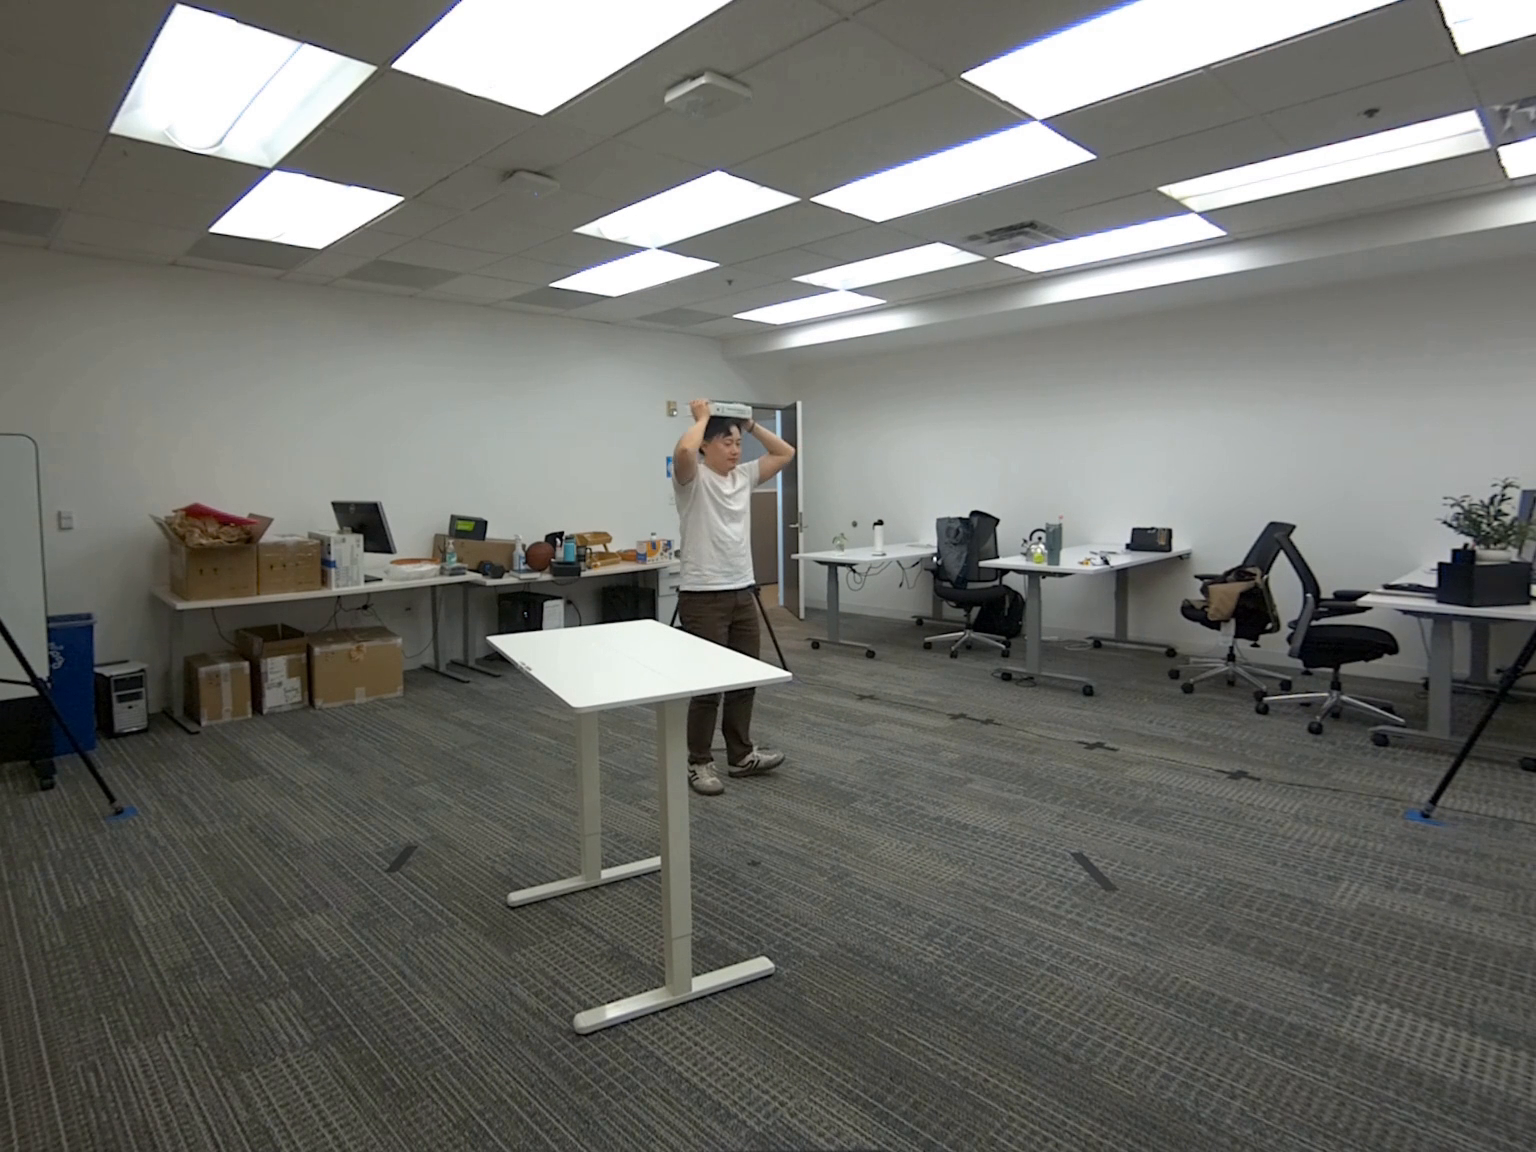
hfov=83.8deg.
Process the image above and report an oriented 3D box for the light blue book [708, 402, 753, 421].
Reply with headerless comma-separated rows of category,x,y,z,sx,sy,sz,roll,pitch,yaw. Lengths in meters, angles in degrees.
light blue book,-0.228,-0.752,3.894,0.197,0.059,0.254,7,8,36
